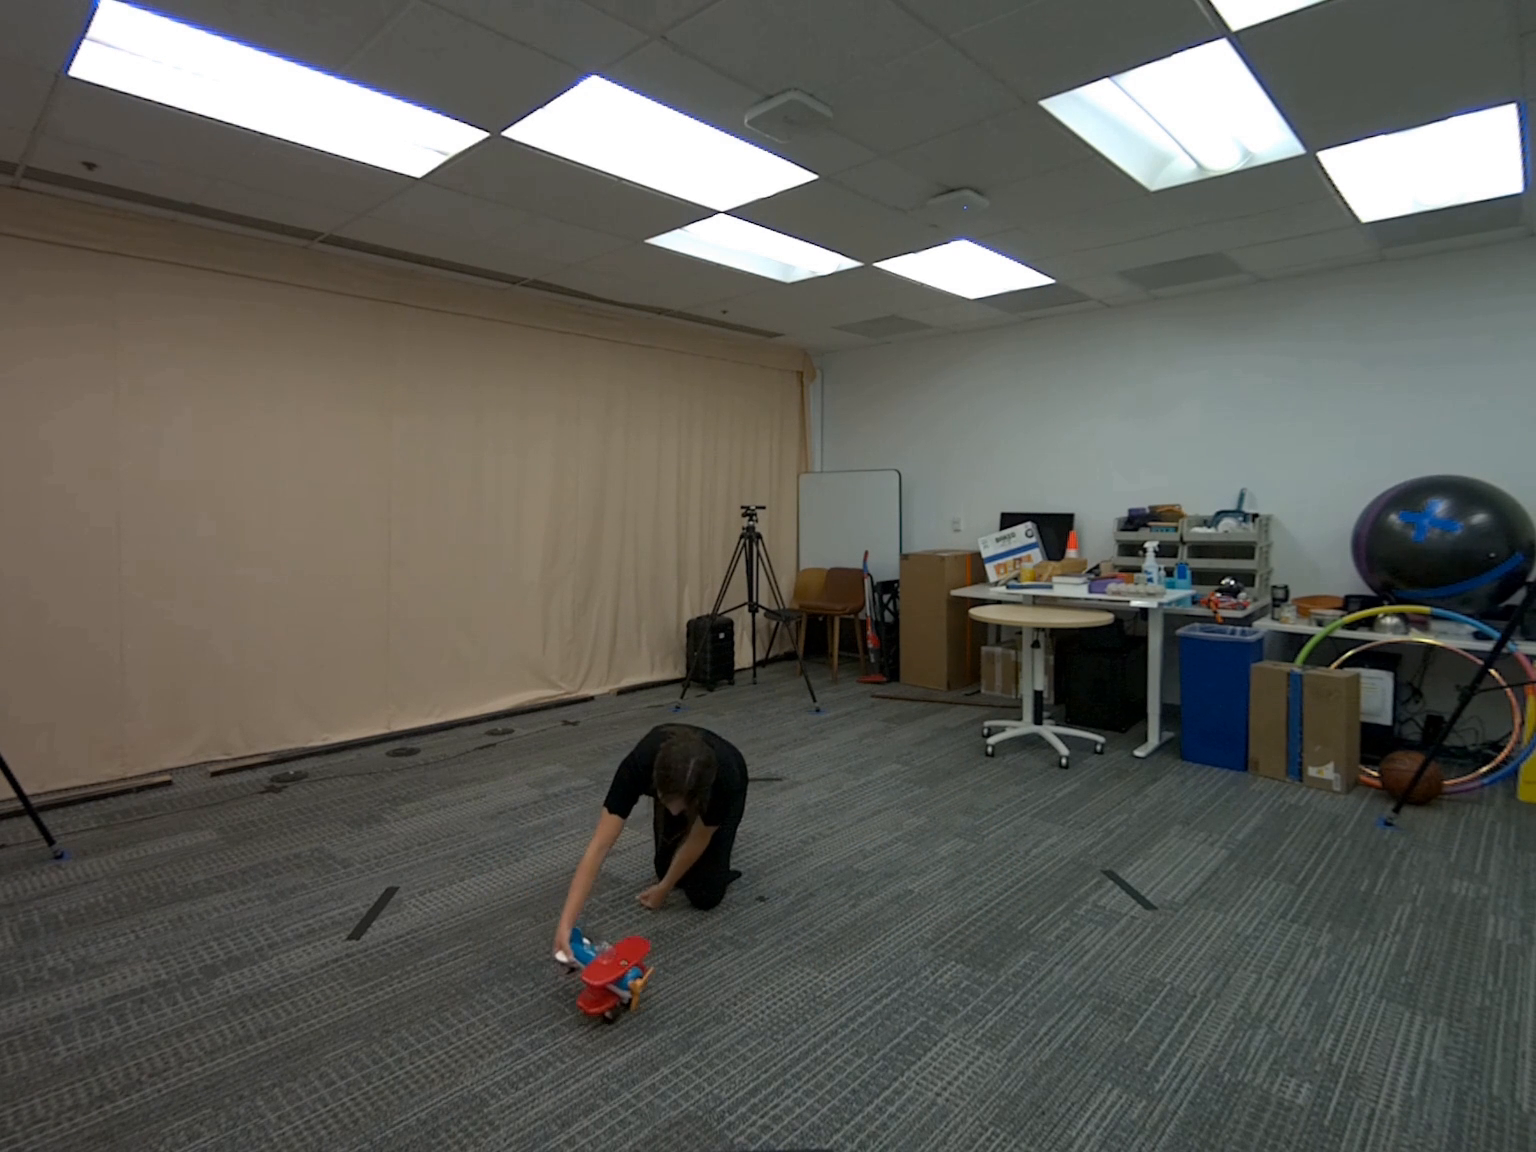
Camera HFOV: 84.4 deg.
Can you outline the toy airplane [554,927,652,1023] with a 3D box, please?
[{"bbox_3d":[-0.463,1.093,2.323,0.258,0.156,0.253,22,15,-4],"label":"toy airplane"}]
